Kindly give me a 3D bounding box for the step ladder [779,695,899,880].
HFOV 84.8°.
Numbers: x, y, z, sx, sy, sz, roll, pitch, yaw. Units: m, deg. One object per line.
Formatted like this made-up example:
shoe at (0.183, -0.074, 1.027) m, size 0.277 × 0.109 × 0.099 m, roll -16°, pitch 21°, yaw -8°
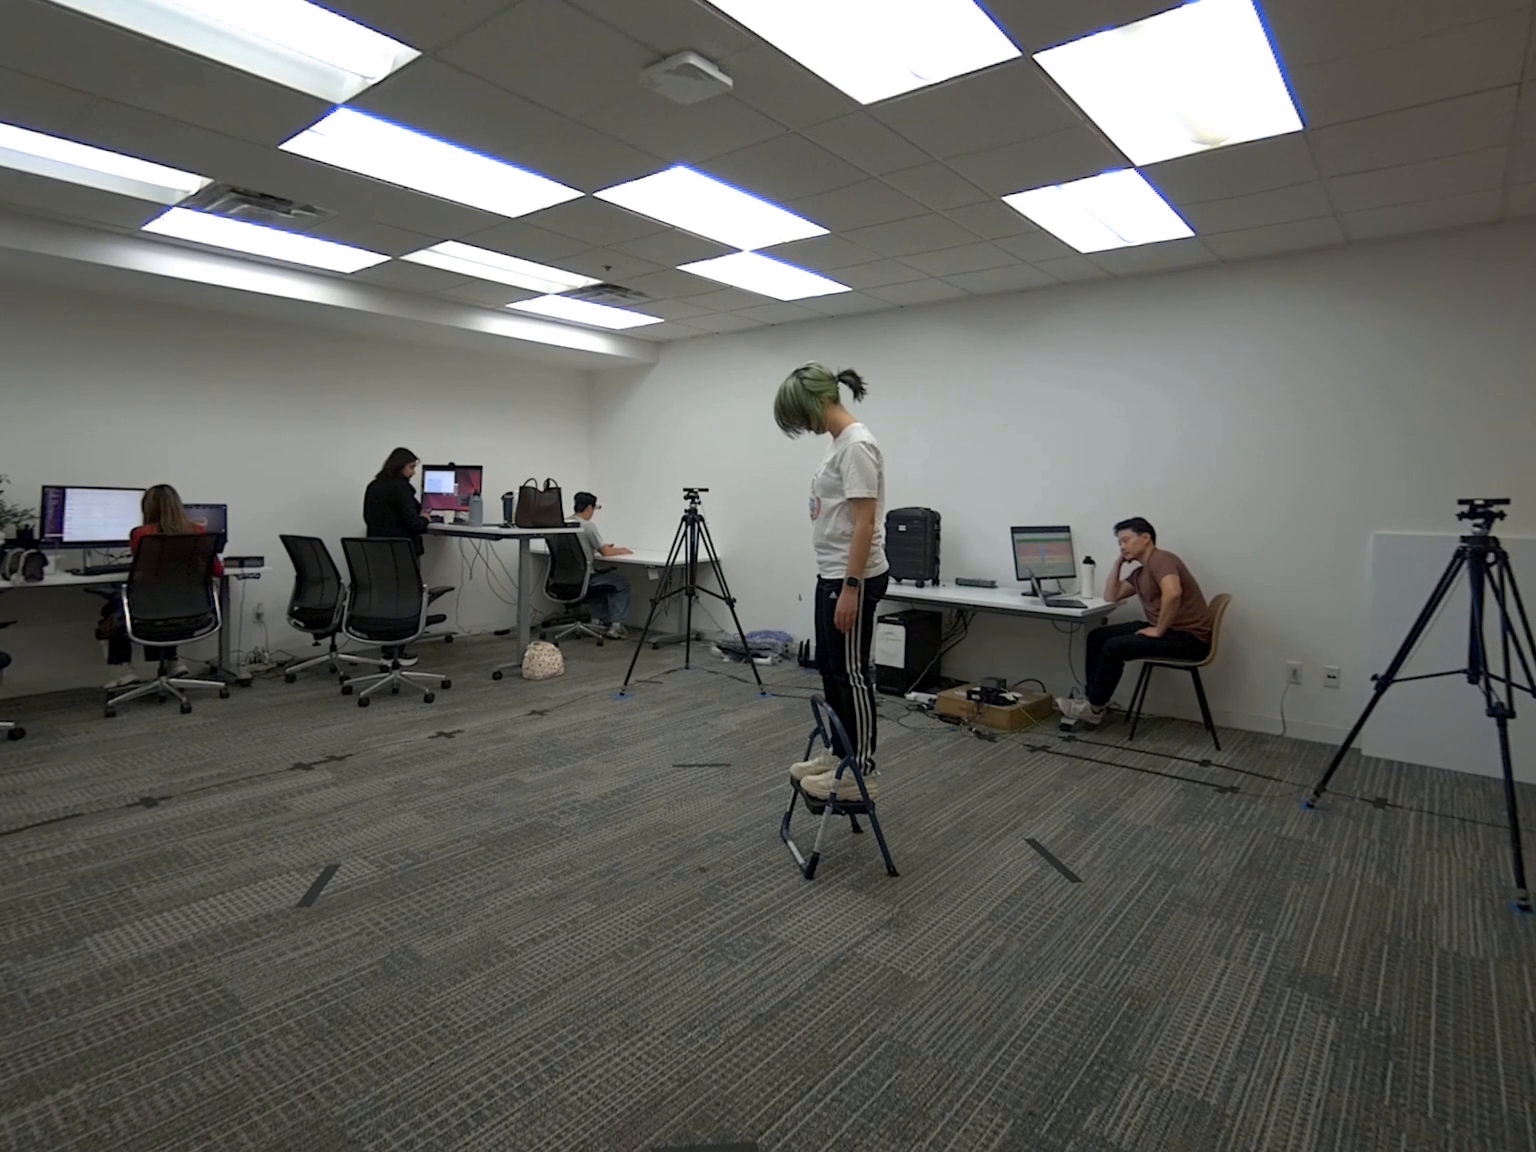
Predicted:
step ladder at (0.258, 0.766, 3.255) m, size 0.345 × 0.604 × 0.437 m, roll 2°, pitch 3°, yaw -12°
